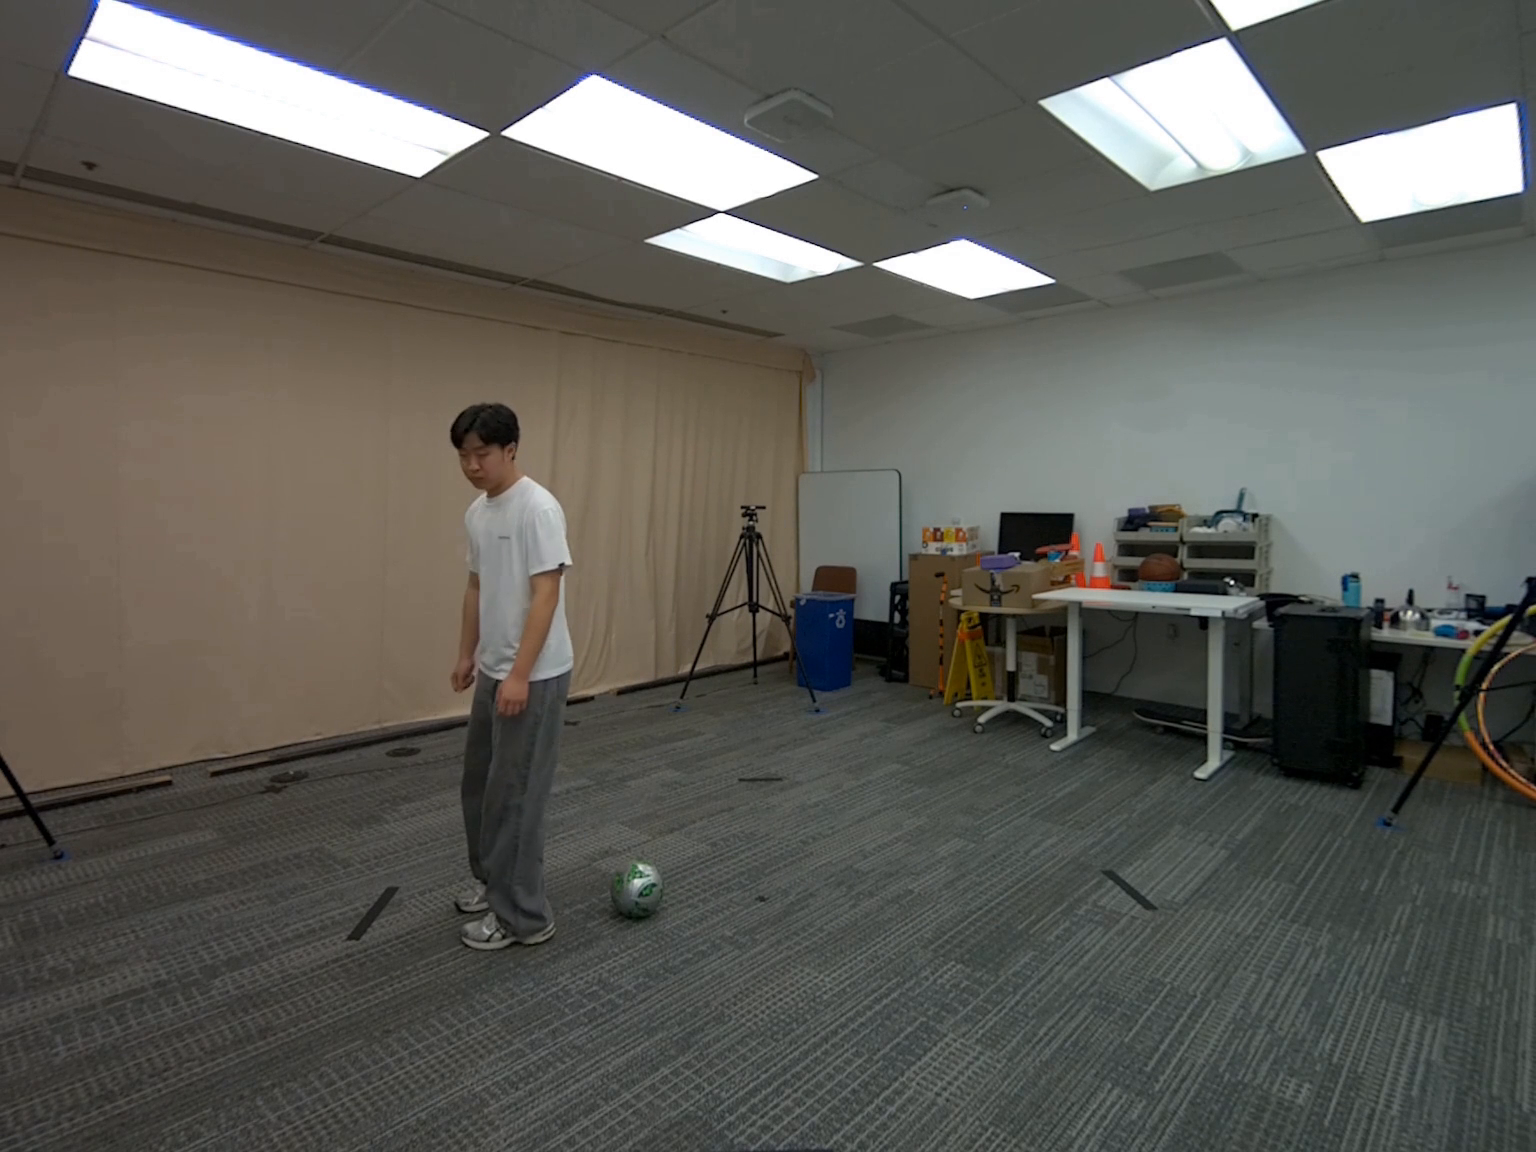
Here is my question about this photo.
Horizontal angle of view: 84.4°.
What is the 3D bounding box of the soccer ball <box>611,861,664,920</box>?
[{"bbox_3d":[-0.439,1.065,2.867,0.187,0.187,0.188,0,4,-2],"label":"soccer ball"}]
